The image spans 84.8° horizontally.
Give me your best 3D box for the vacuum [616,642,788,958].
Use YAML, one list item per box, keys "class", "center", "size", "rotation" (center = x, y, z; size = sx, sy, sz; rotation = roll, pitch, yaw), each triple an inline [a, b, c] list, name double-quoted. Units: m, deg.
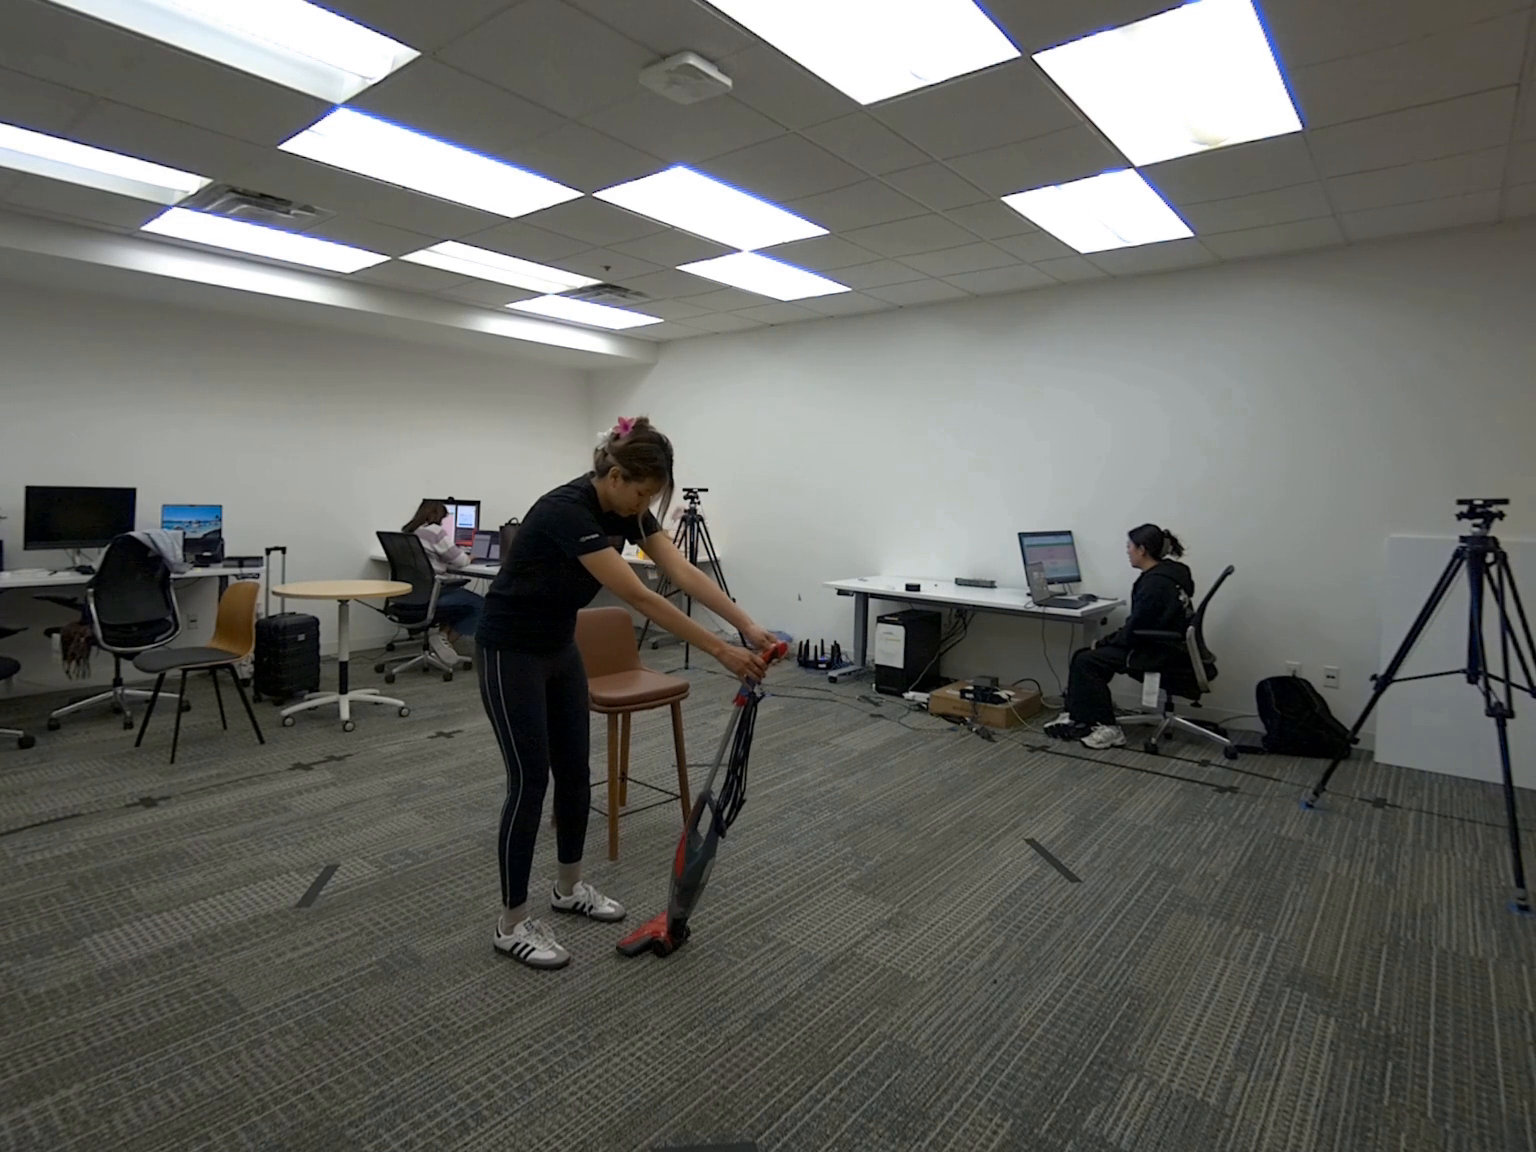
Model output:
- class: "vacuum"
  center: [-0.156, 0.658, 2.449]
  size: [0.149, 1.041, 0.246]
  rotation: [31, 18, 26]
